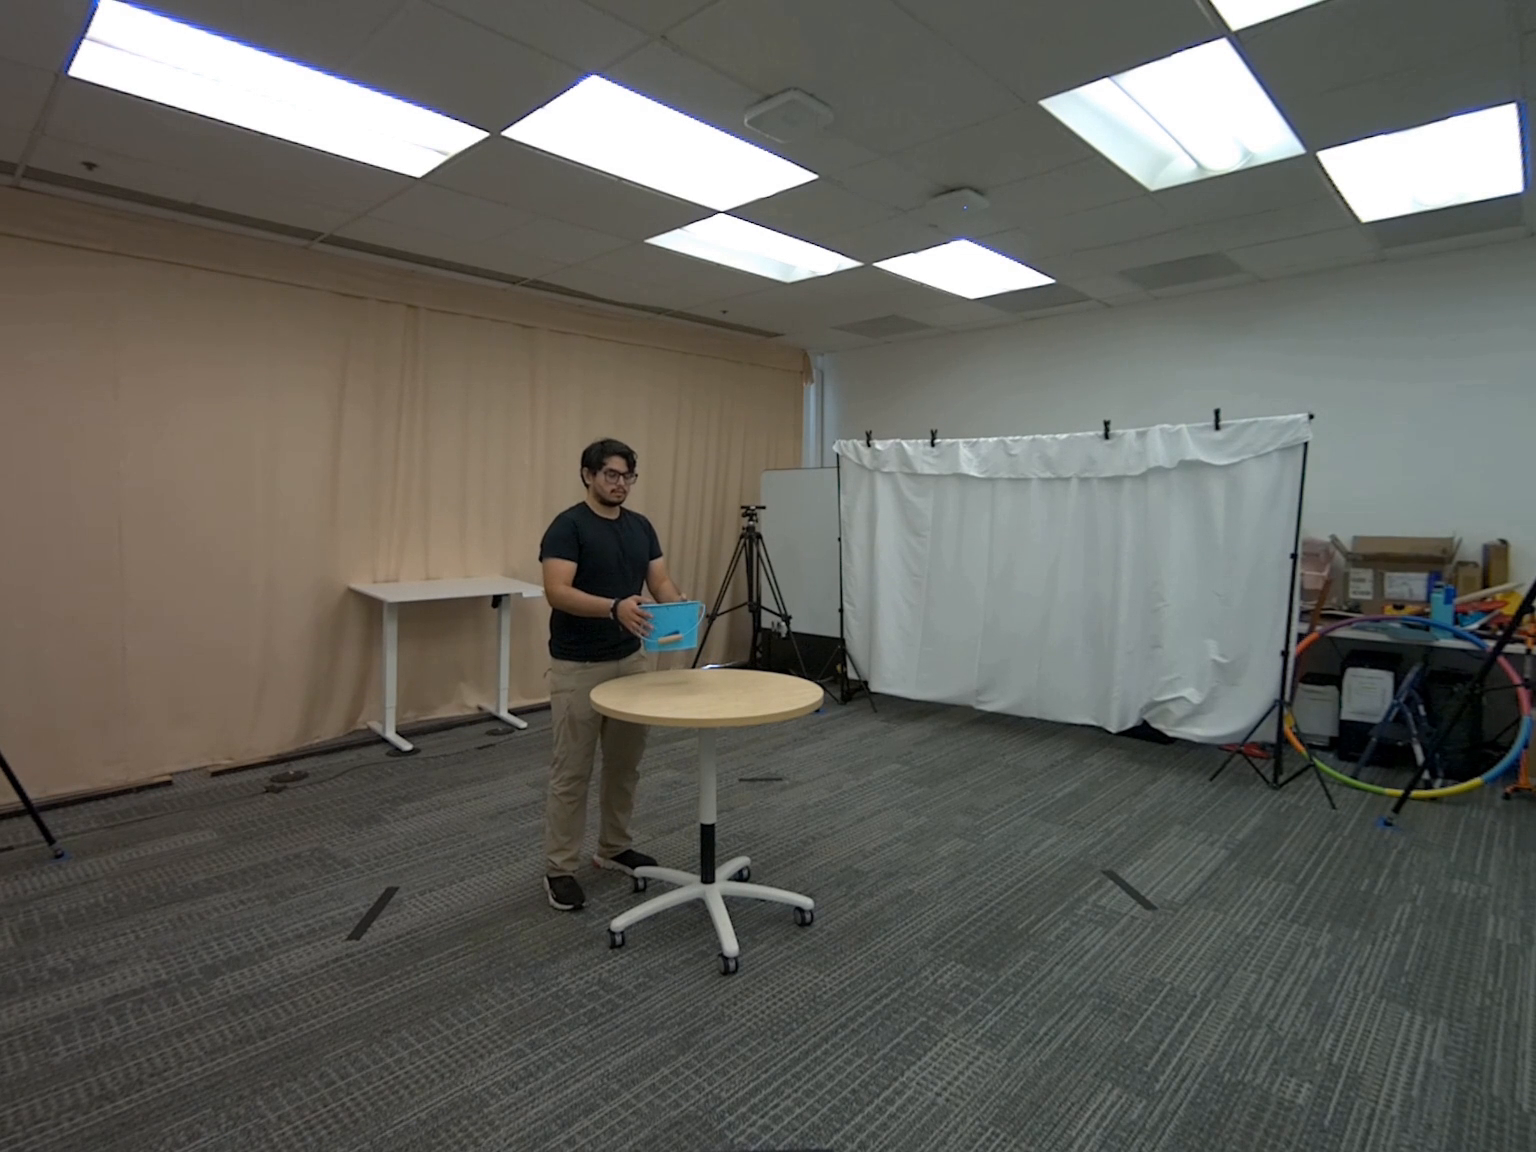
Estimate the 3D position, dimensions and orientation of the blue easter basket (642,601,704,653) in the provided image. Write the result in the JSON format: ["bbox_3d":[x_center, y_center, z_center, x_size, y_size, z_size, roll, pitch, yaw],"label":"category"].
[{"bbox_3d":[-0.350,0.174,2.847,0.243,0.156,0.244,-3,0,-2],"label":"blue easter basket"}]
